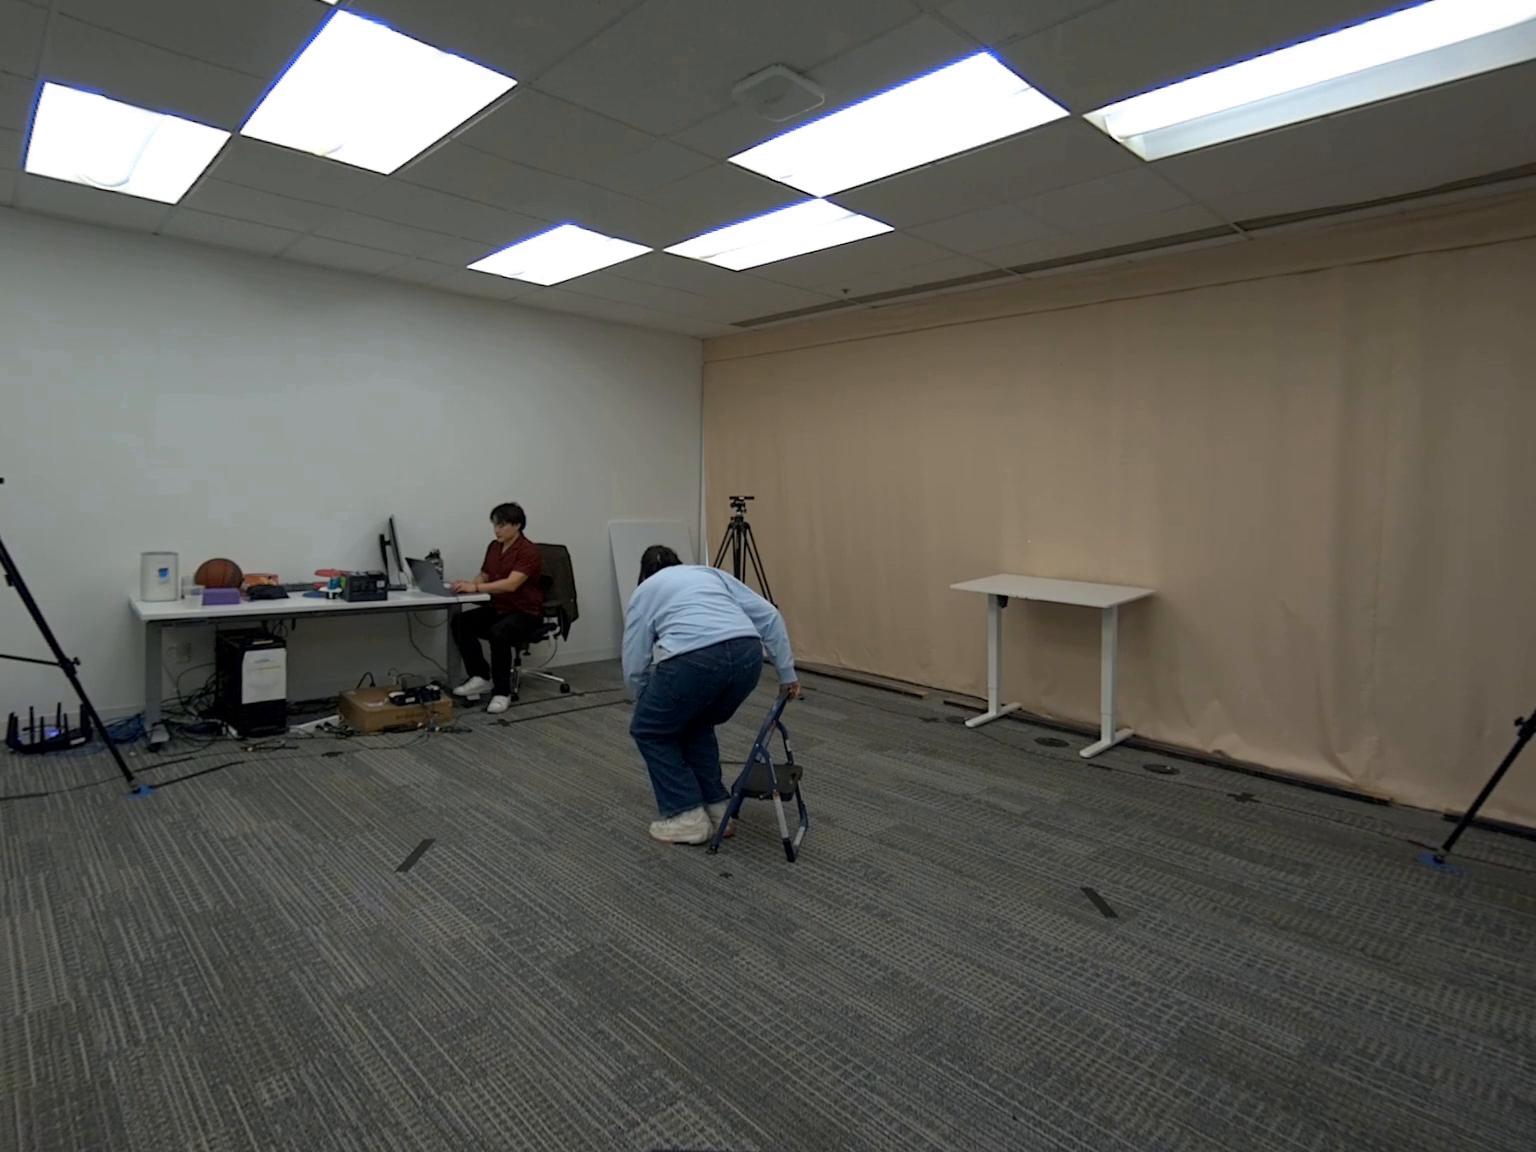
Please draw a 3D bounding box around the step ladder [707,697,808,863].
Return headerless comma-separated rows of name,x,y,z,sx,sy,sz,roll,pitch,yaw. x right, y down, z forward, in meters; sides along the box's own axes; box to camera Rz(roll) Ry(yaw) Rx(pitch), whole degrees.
step ladder,-0.031,0.774,3.439,0.352,0.605,0.427,2,3,10
